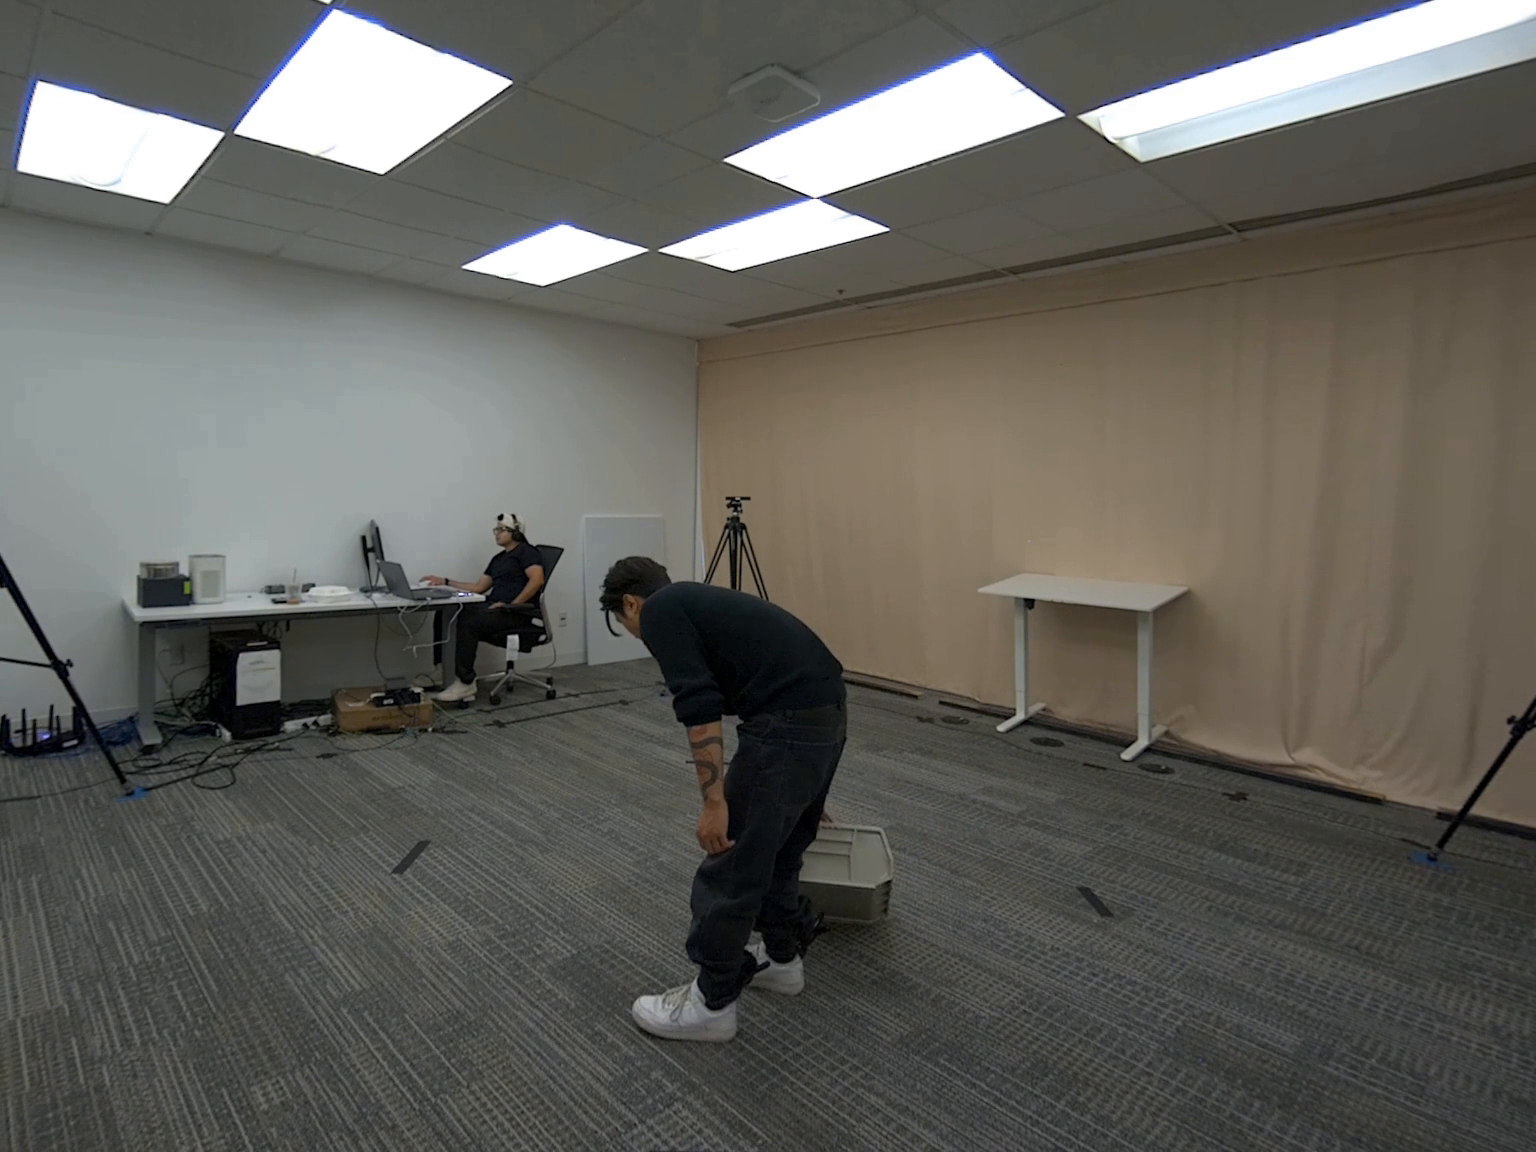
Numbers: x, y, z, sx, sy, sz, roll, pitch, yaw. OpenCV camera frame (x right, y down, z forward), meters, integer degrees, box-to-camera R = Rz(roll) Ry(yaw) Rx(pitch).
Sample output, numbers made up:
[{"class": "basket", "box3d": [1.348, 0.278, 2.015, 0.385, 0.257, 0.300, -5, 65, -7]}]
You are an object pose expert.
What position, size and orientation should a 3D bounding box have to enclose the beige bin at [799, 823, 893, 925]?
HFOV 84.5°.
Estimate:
[{"class": "beige bin", "box3d": [0.195, 0.951, 2.675, 0.380, 0.192, 0.412, 2, -35, 8]}]
